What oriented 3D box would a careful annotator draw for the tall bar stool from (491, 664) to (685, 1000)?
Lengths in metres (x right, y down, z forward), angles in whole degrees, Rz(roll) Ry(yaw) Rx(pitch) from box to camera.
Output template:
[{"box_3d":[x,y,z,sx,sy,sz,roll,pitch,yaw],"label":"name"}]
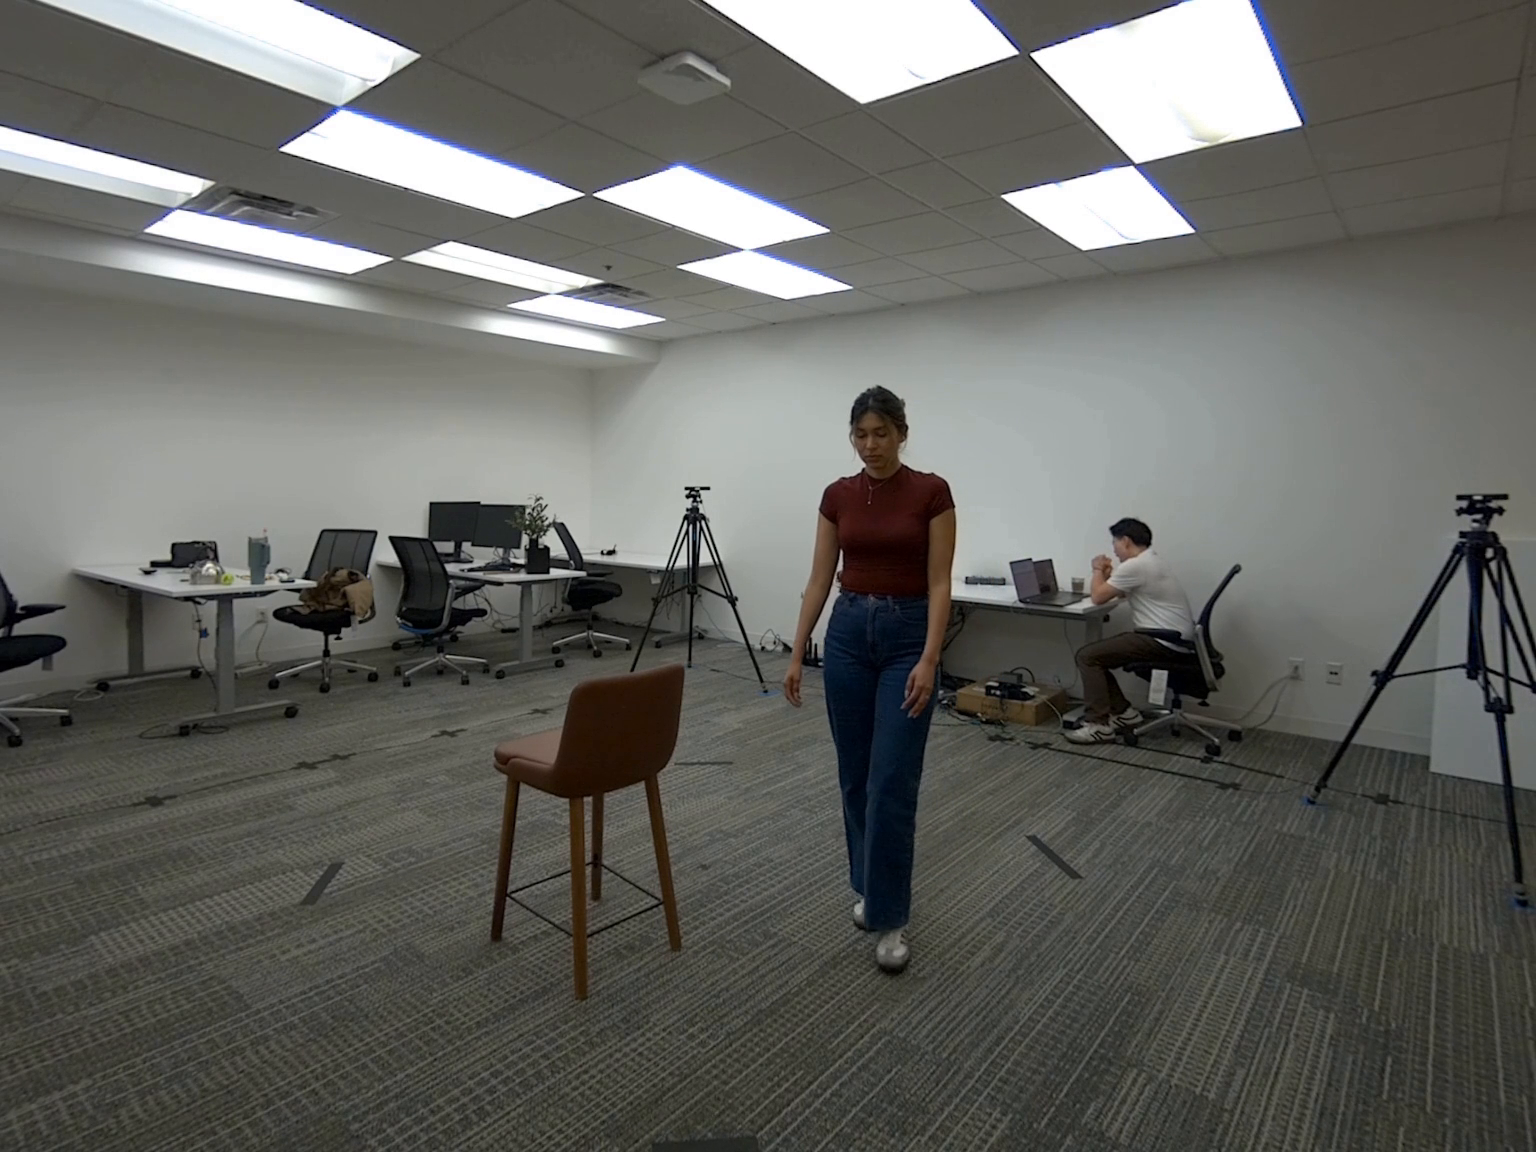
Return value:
[{"box_3d":[-0.547,0.681,2.555,0.484,0.886,0.443,6,7,43],"label":"tall bar stool"}]
